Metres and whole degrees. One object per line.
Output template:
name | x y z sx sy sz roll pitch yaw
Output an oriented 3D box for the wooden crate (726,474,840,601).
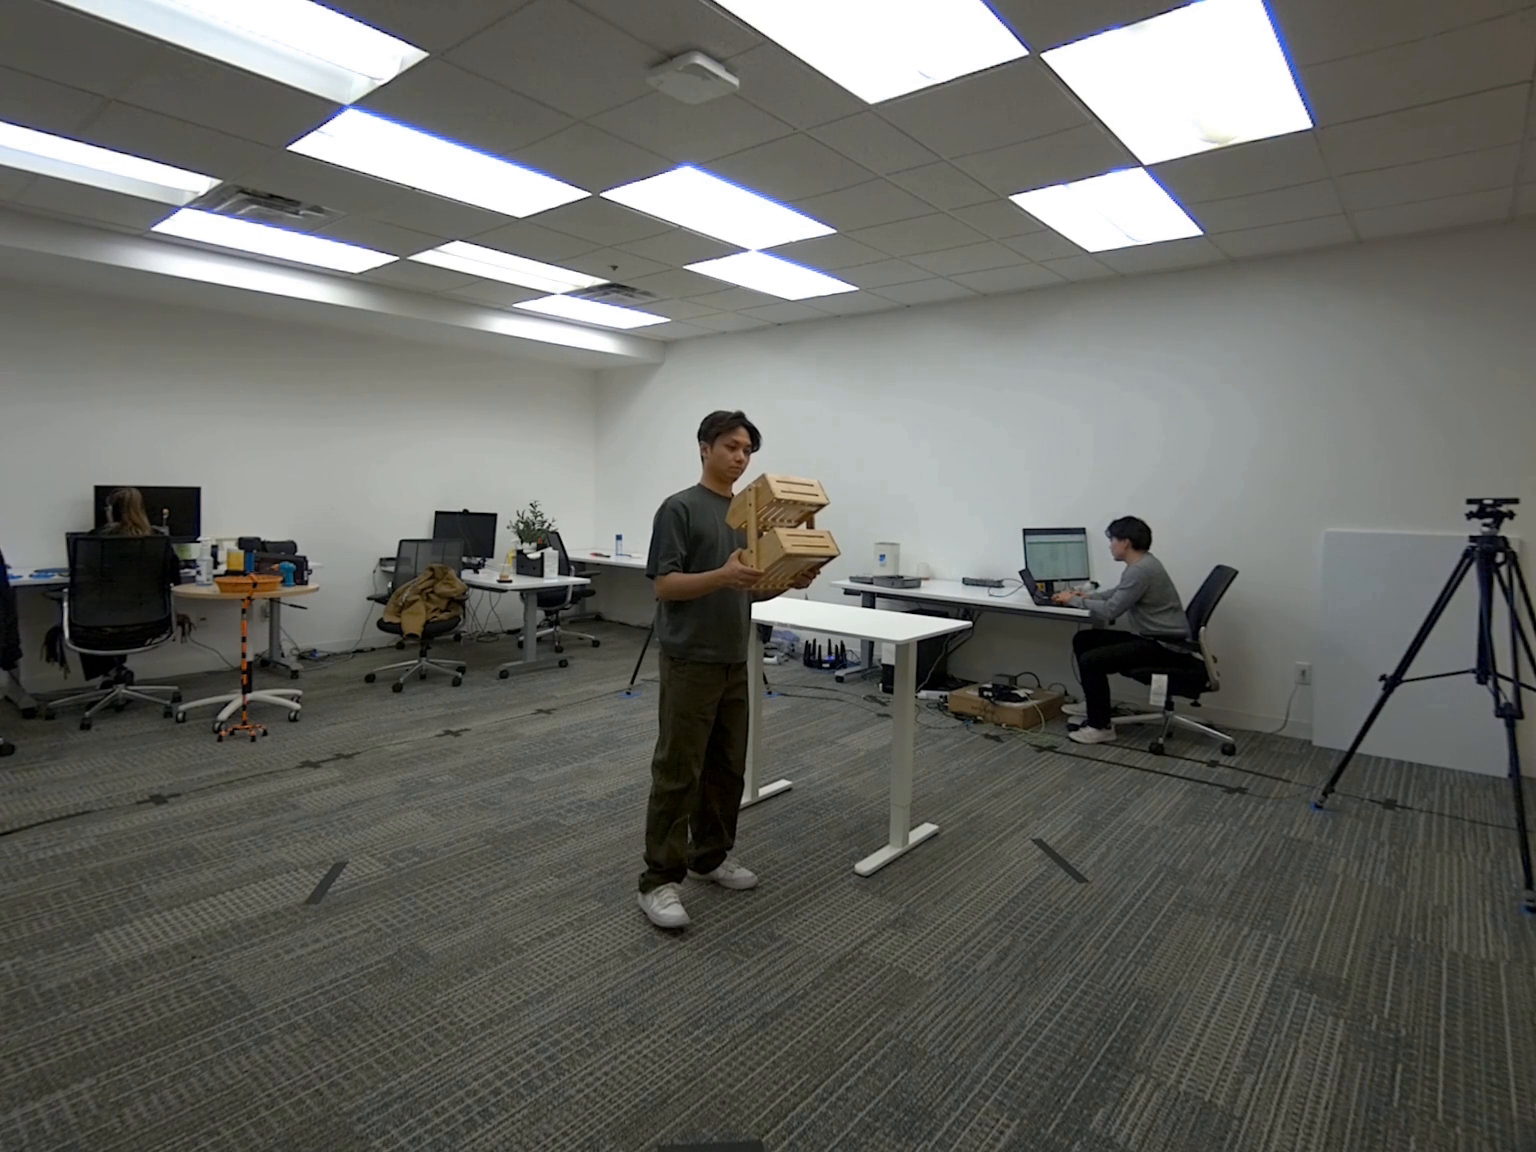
wooden crate | 0.015 -0.139 2.774 0.304 0.280 0.314 -37 -23 33
